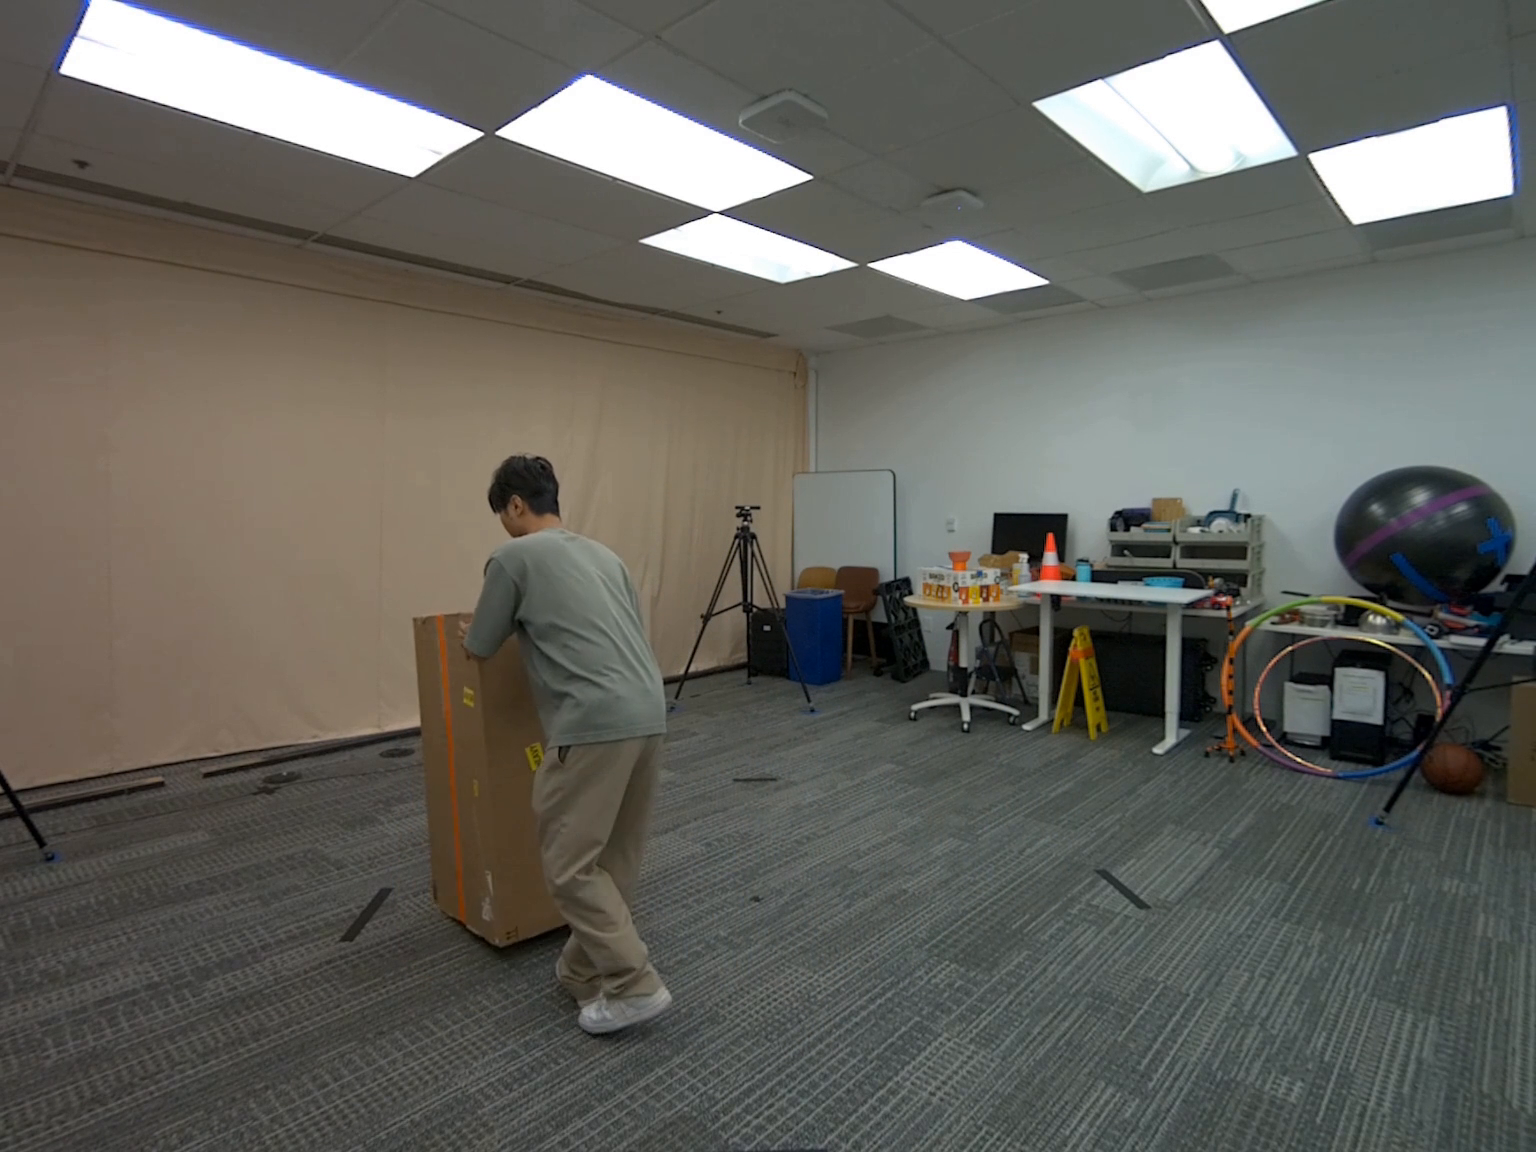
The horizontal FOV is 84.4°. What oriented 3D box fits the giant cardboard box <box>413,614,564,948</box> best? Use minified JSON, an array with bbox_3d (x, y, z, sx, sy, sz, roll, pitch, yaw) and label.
[{"bbox_3d":[-0.889,0.626,2.919,0.413,1.027,0.594,-3,-3,-40],"label":"giant cardboard box"}]
